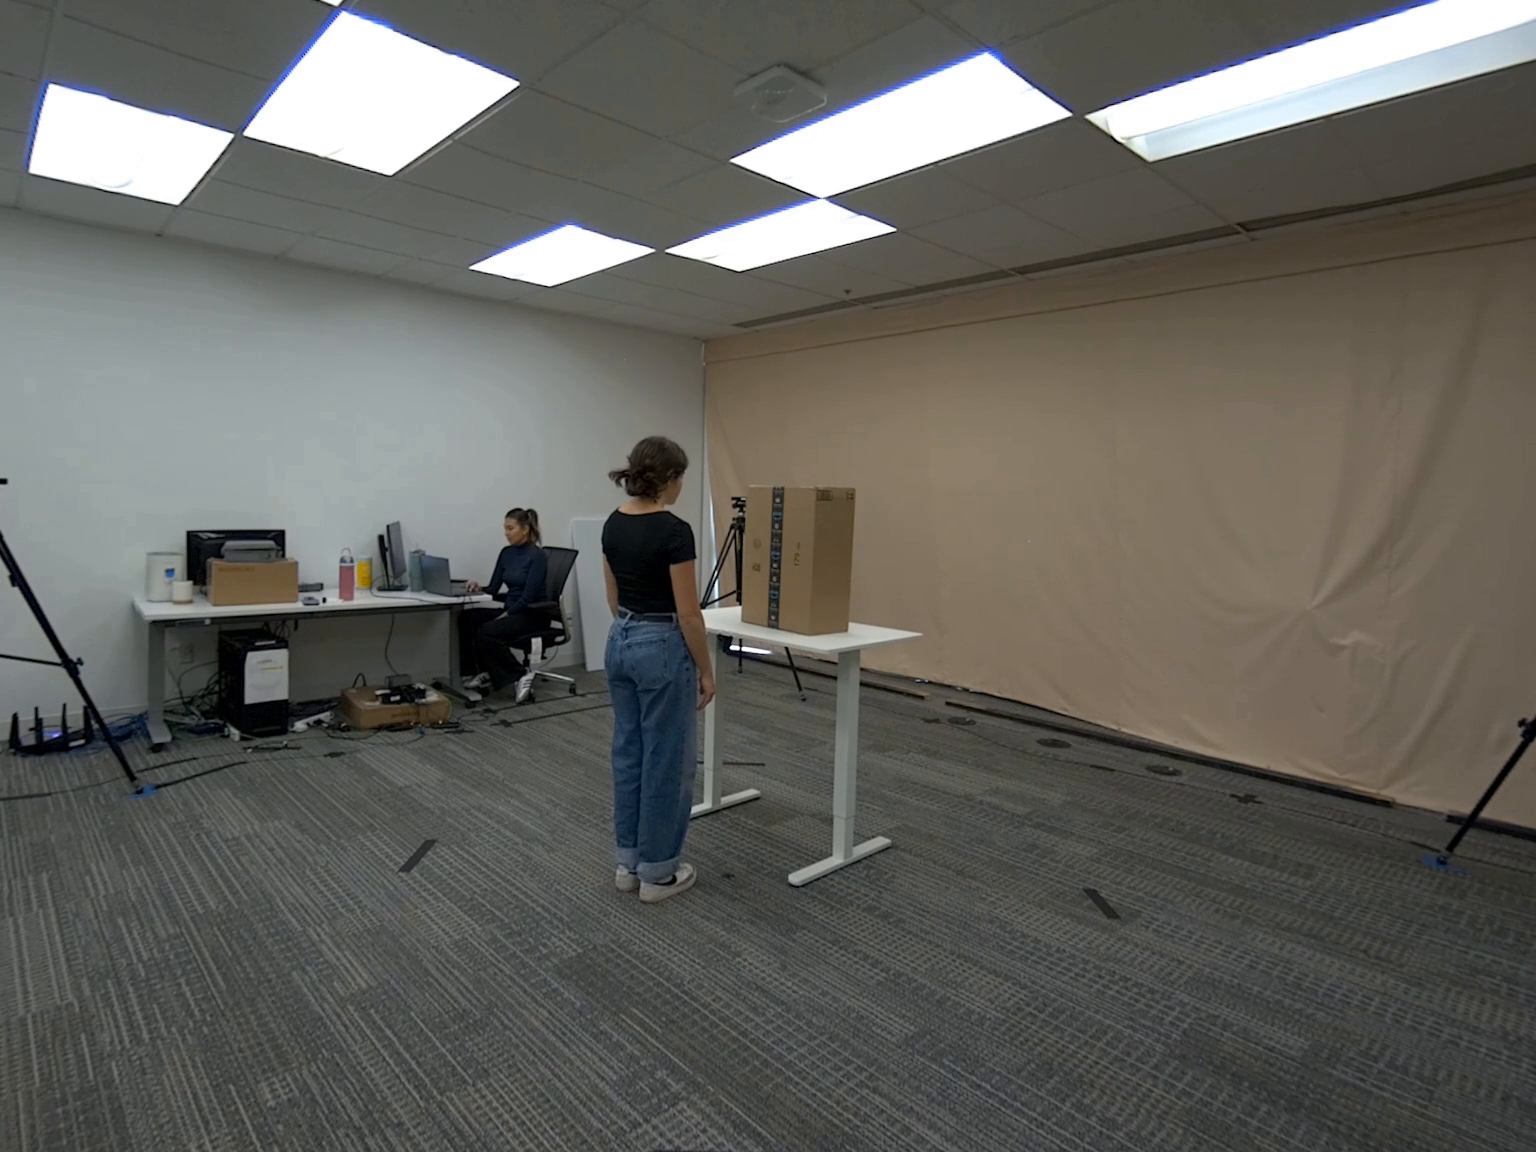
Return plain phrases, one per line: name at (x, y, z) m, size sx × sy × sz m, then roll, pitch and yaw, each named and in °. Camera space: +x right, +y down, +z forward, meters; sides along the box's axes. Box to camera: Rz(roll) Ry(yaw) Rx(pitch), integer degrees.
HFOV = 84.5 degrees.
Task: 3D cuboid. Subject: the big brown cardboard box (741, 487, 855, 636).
big brown cardboard box at (0.107, -0.083, 3.383) m, size 0.228 × 0.587 × 0.428 m, roll 1°, pitch 5°, yaw -39°
